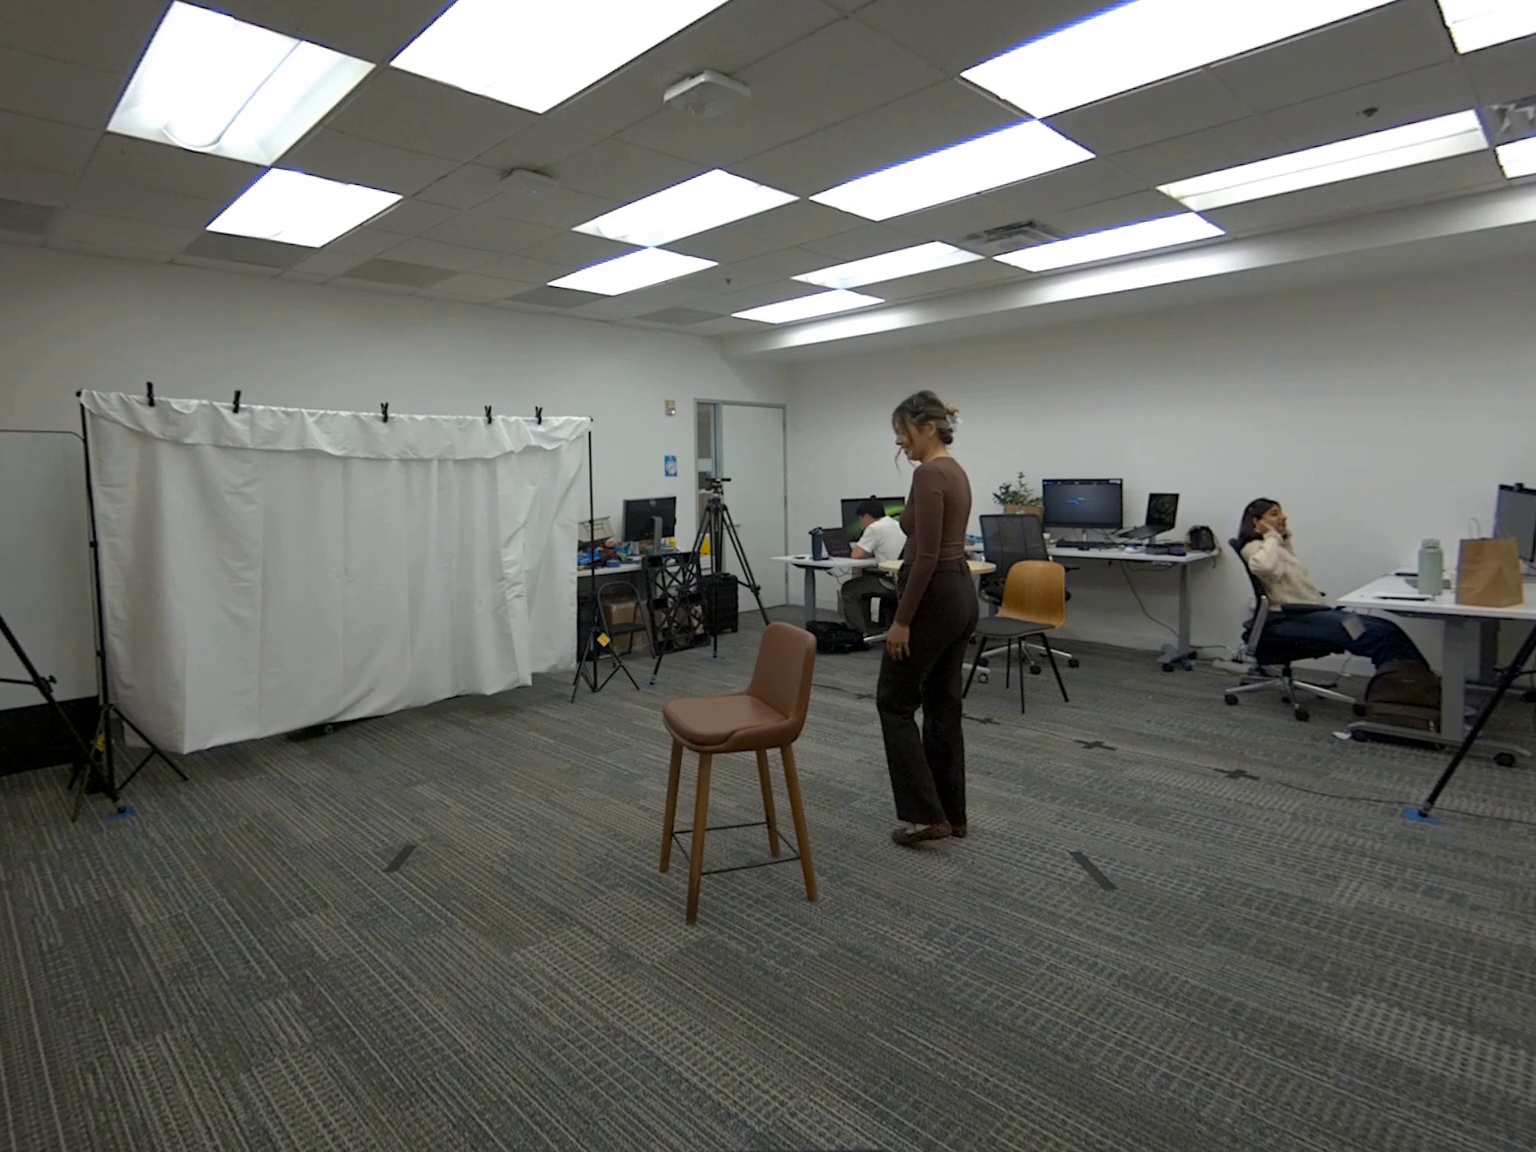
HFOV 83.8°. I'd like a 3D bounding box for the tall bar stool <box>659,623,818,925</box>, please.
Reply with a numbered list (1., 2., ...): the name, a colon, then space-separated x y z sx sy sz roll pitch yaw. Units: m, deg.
1. tall bar stool: -0.108 0.631 2.908 0.459 0.887 0.466 -1 4 -19
